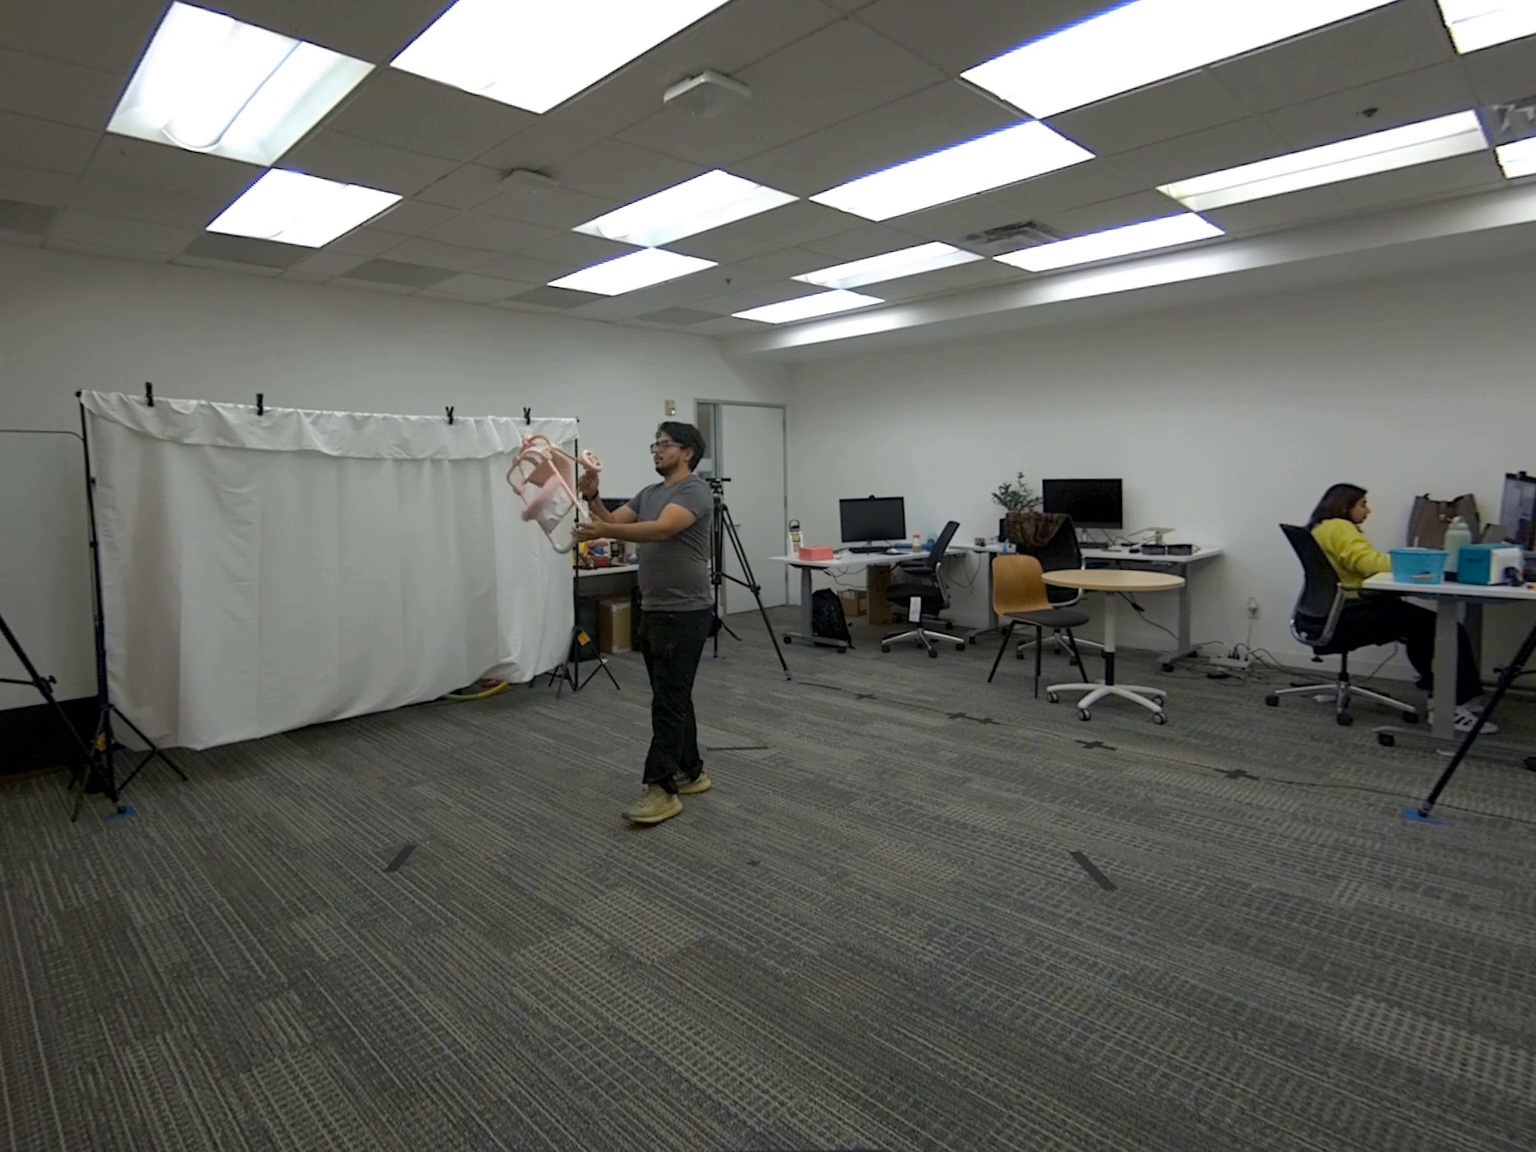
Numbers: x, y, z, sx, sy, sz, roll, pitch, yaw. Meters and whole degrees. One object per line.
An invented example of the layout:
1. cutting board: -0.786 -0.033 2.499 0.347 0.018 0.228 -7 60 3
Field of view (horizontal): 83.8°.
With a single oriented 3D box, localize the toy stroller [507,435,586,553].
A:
1. toy stroller: -0.867 -0.366 3.402 0.331 0.282 0.550 39 24 -27
